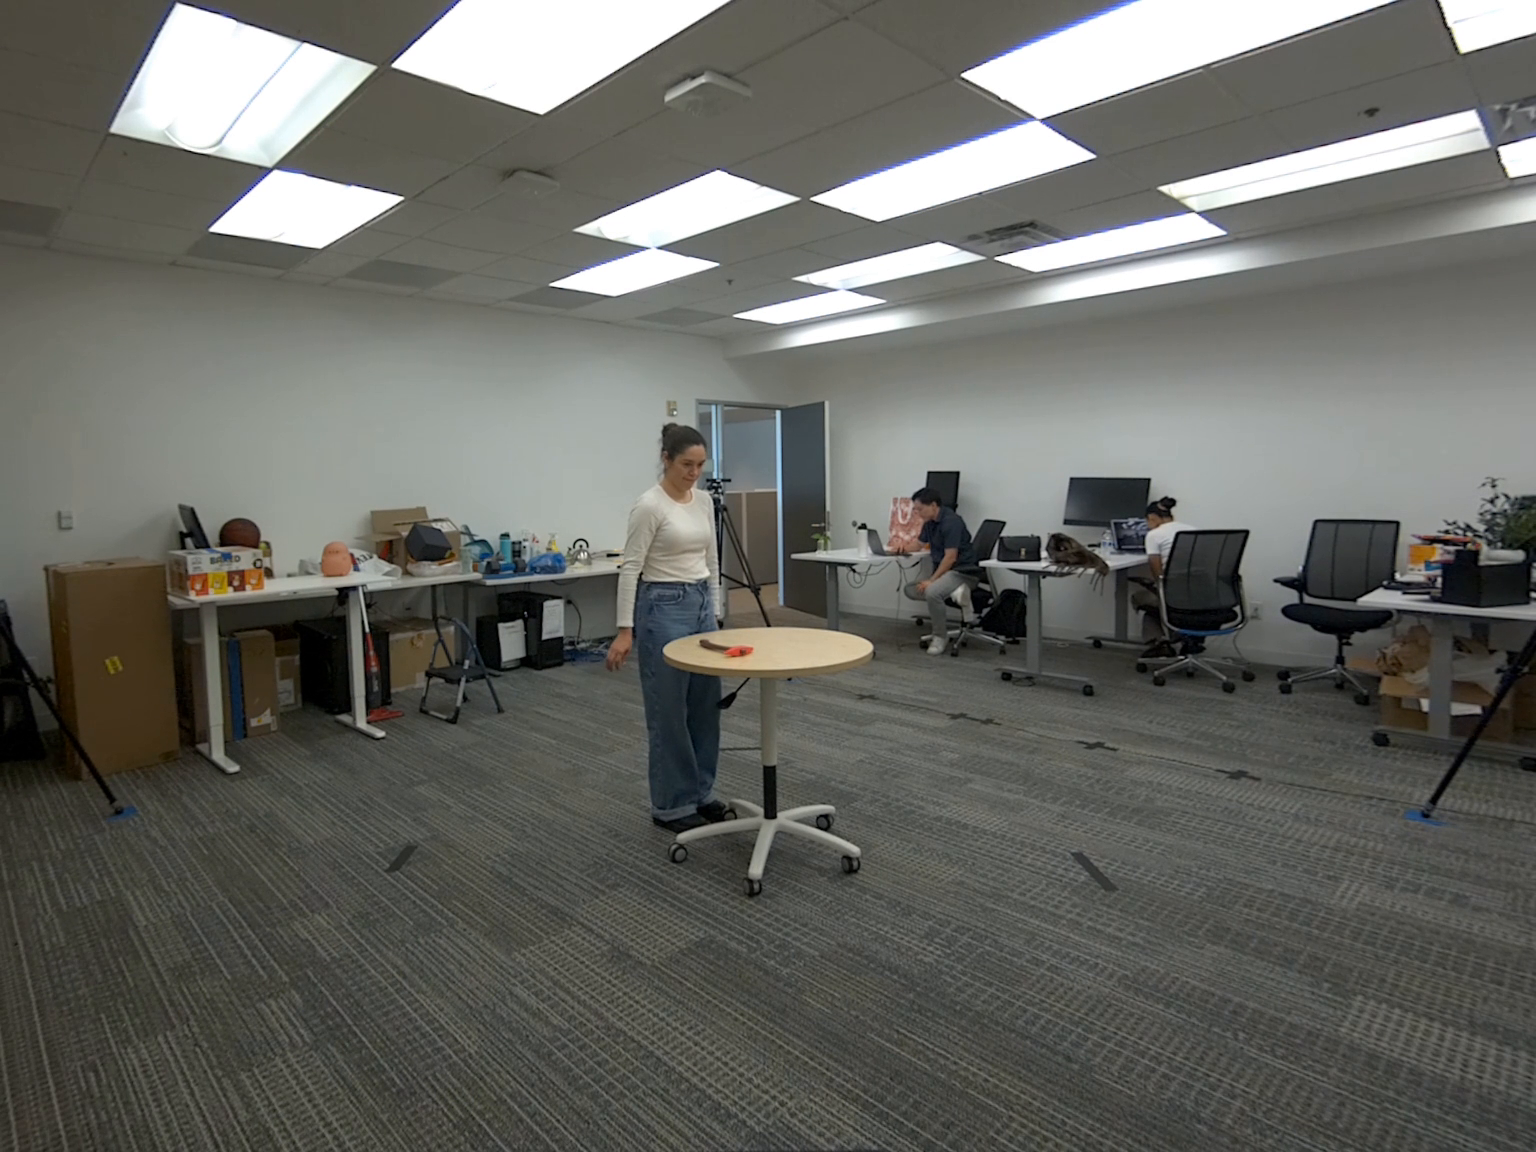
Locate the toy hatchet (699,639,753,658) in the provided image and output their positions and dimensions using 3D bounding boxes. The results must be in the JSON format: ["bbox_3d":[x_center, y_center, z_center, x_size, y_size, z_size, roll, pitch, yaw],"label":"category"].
[{"bbox_3d":[-0.141,0.258,3.076,0.128,0.029,0.276,-4,5,-25],"label":"toy hatchet"}]
